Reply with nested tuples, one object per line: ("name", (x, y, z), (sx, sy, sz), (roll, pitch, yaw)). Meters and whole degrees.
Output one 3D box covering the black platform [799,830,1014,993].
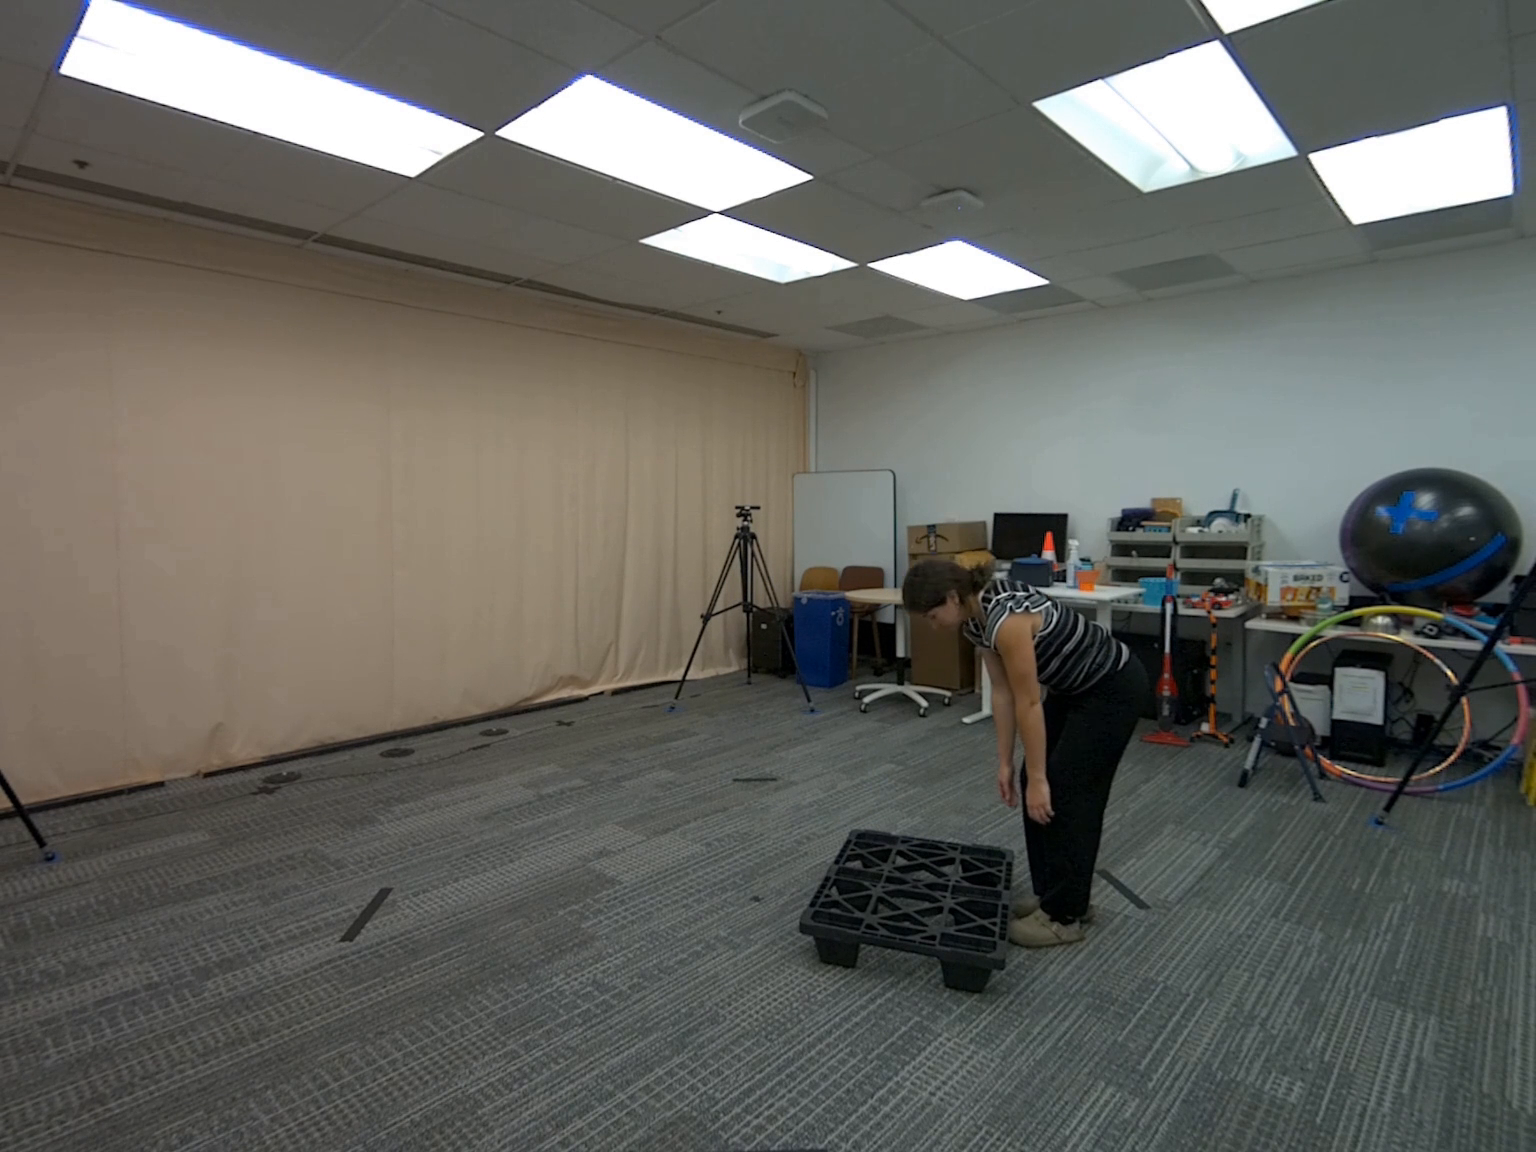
("black platform", (0.493, 1.087, 2.815), (0.618, 0.143, 0.791), (1, 5, 19))
